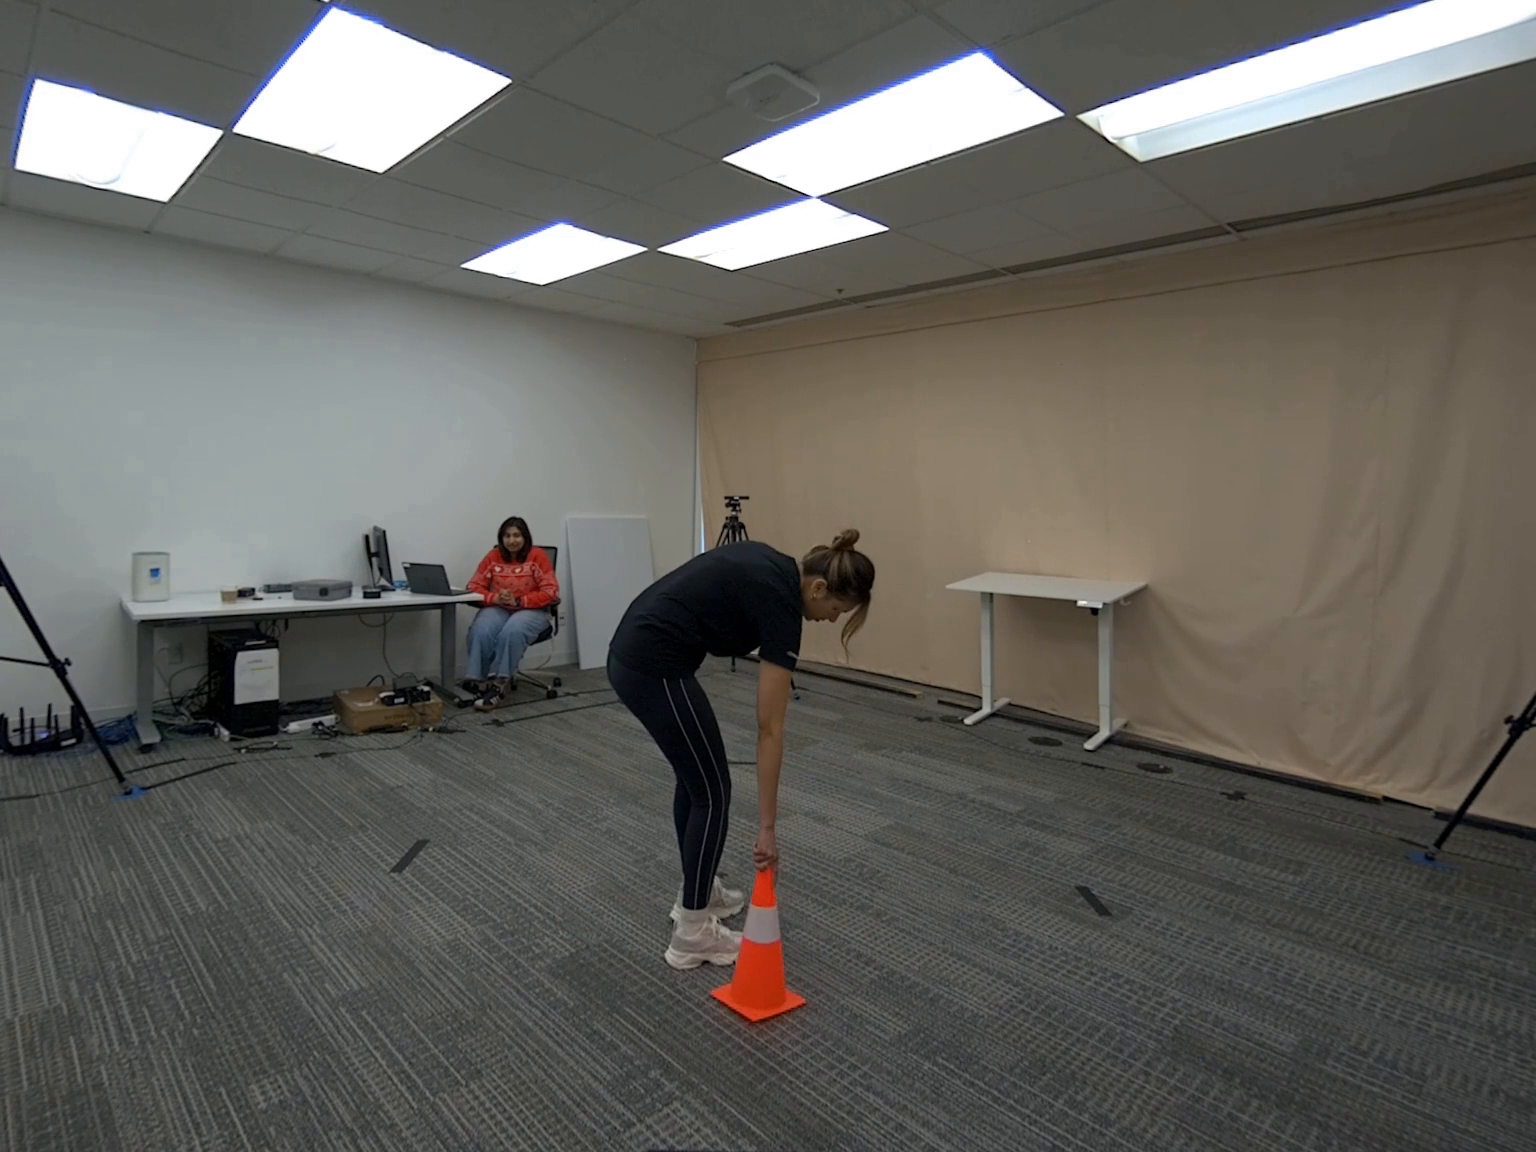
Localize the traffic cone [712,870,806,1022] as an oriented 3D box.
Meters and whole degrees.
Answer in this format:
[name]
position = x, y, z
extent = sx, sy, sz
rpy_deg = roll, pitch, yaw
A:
[traffic cone]
position = -0.021, 0.986, 2.348
extent = 0.210, 0.385, 0.198
rpy_deg = 0, -6, 42
